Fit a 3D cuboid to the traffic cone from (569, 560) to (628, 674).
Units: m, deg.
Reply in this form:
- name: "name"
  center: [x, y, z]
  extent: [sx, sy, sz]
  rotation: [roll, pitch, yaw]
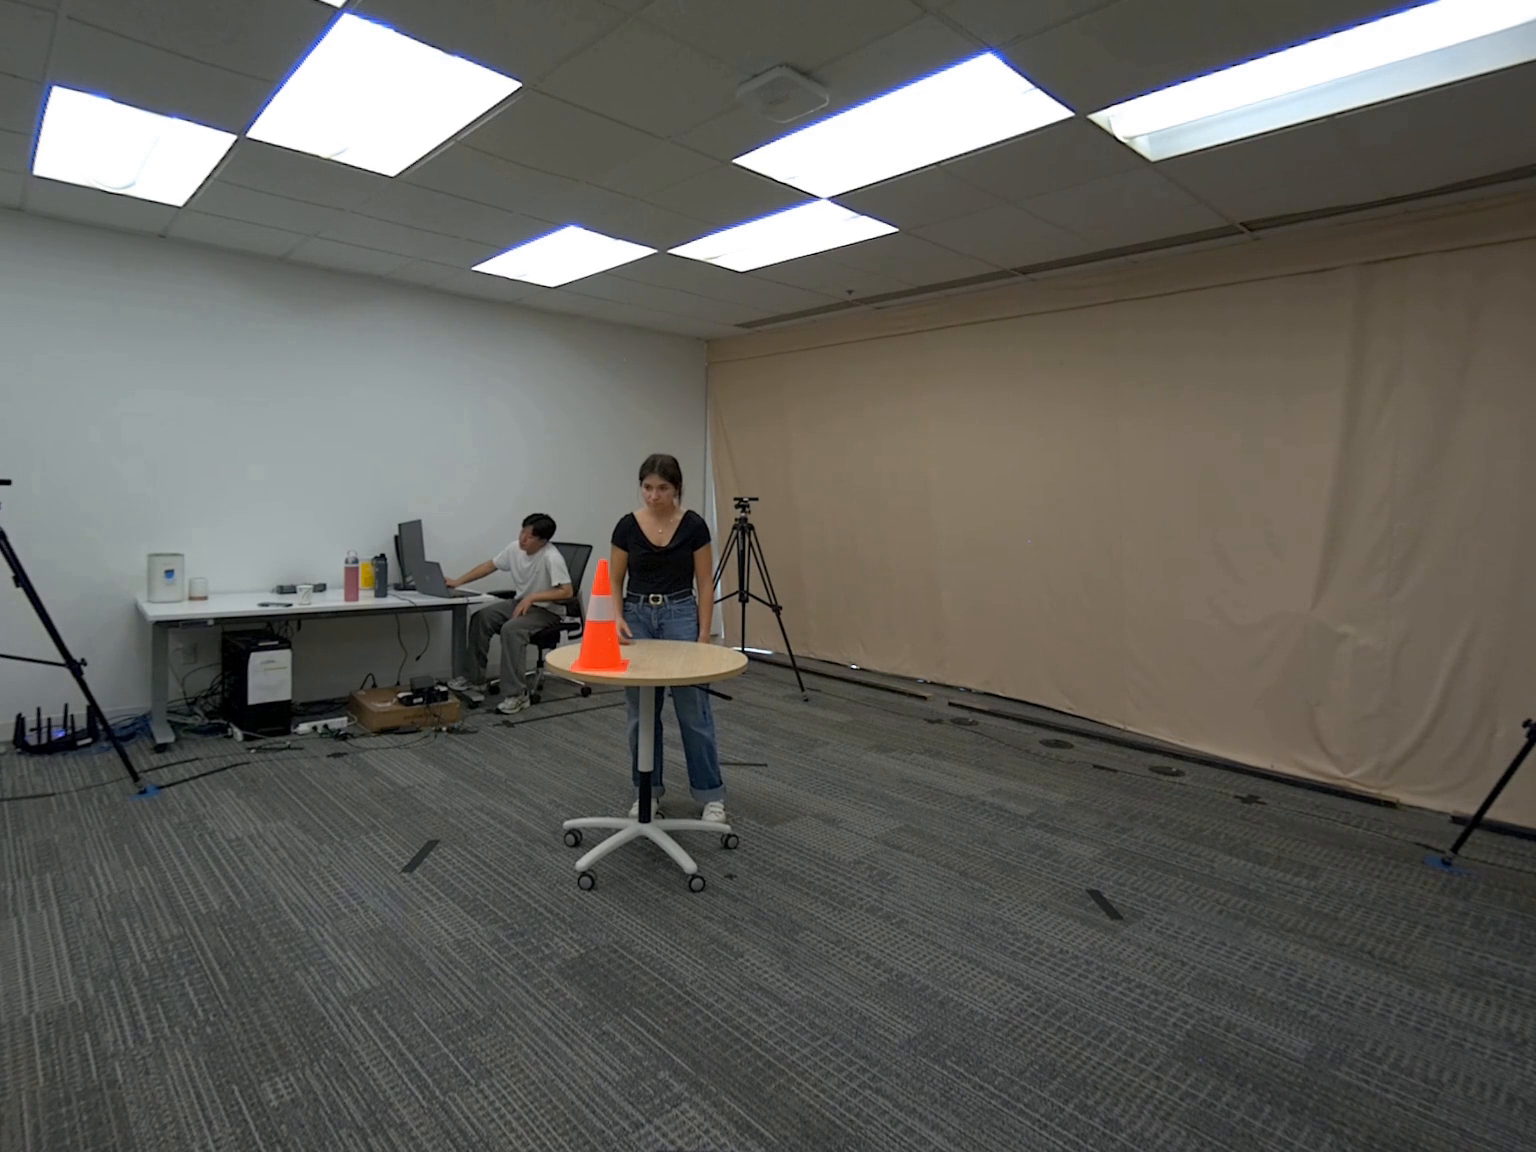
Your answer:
- name: "traffic cone"
  center: [-0.614, 0.139, 3.013]
  extent: [0.202, 0.383, 0.206]
  rotation: [1, 1, -9]
